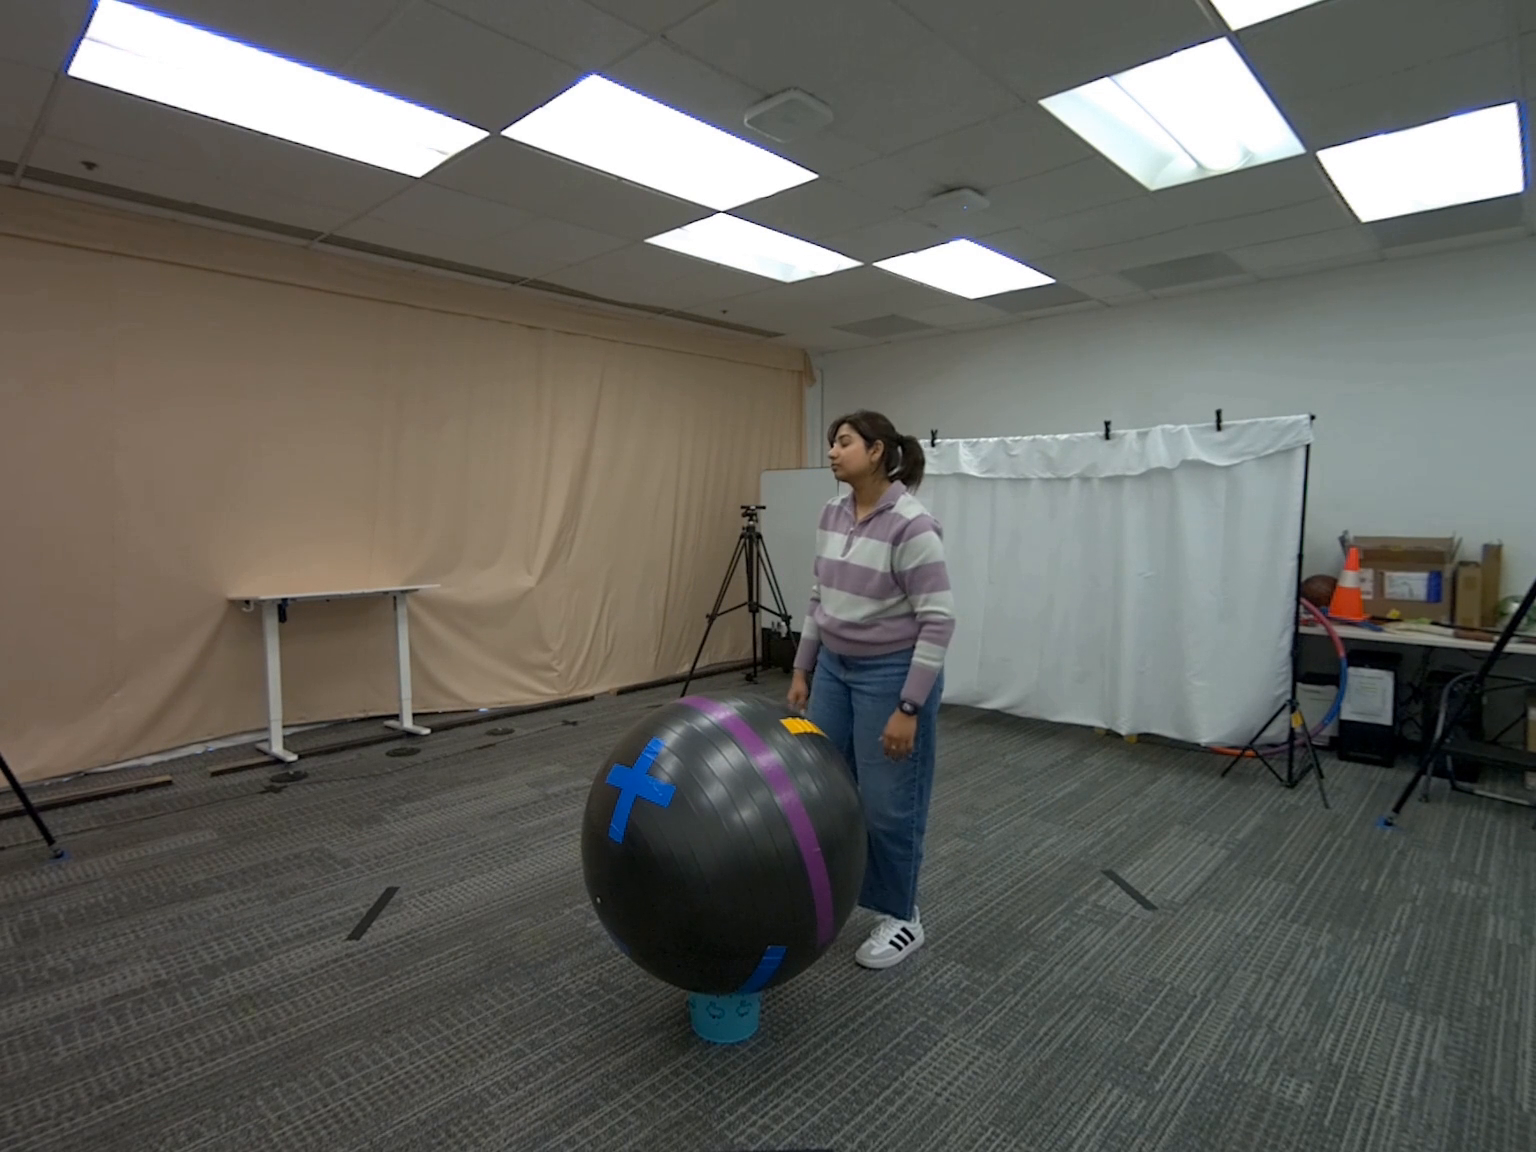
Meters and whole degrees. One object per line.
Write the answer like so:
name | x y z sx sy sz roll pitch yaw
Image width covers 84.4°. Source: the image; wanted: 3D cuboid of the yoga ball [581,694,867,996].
yoga ball | -0.122 0.702 2.233 0.757 0.756 0.761 0 4 -2
